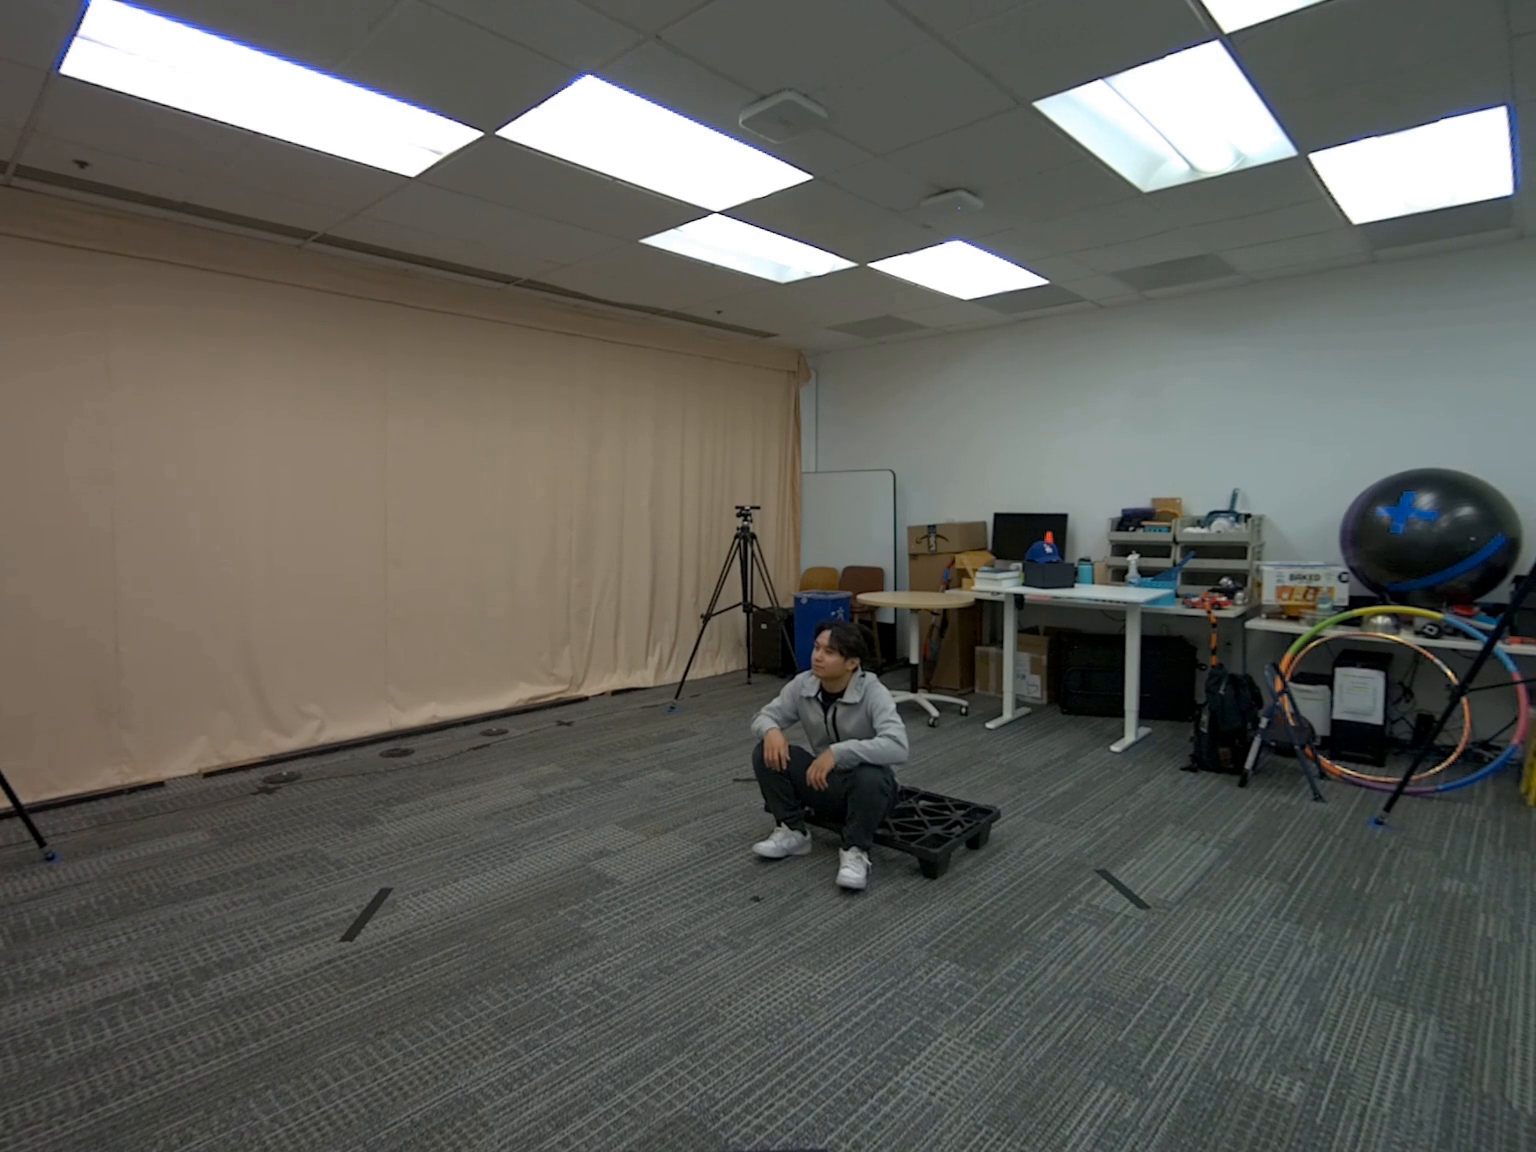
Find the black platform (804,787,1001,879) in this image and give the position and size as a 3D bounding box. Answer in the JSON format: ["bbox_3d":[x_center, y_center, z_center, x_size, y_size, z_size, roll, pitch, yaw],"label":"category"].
[{"bbox_3d":[0.478,1.031,3.535,0.832,0.143,0.587,3,6,39],"label":"black platform"}]
